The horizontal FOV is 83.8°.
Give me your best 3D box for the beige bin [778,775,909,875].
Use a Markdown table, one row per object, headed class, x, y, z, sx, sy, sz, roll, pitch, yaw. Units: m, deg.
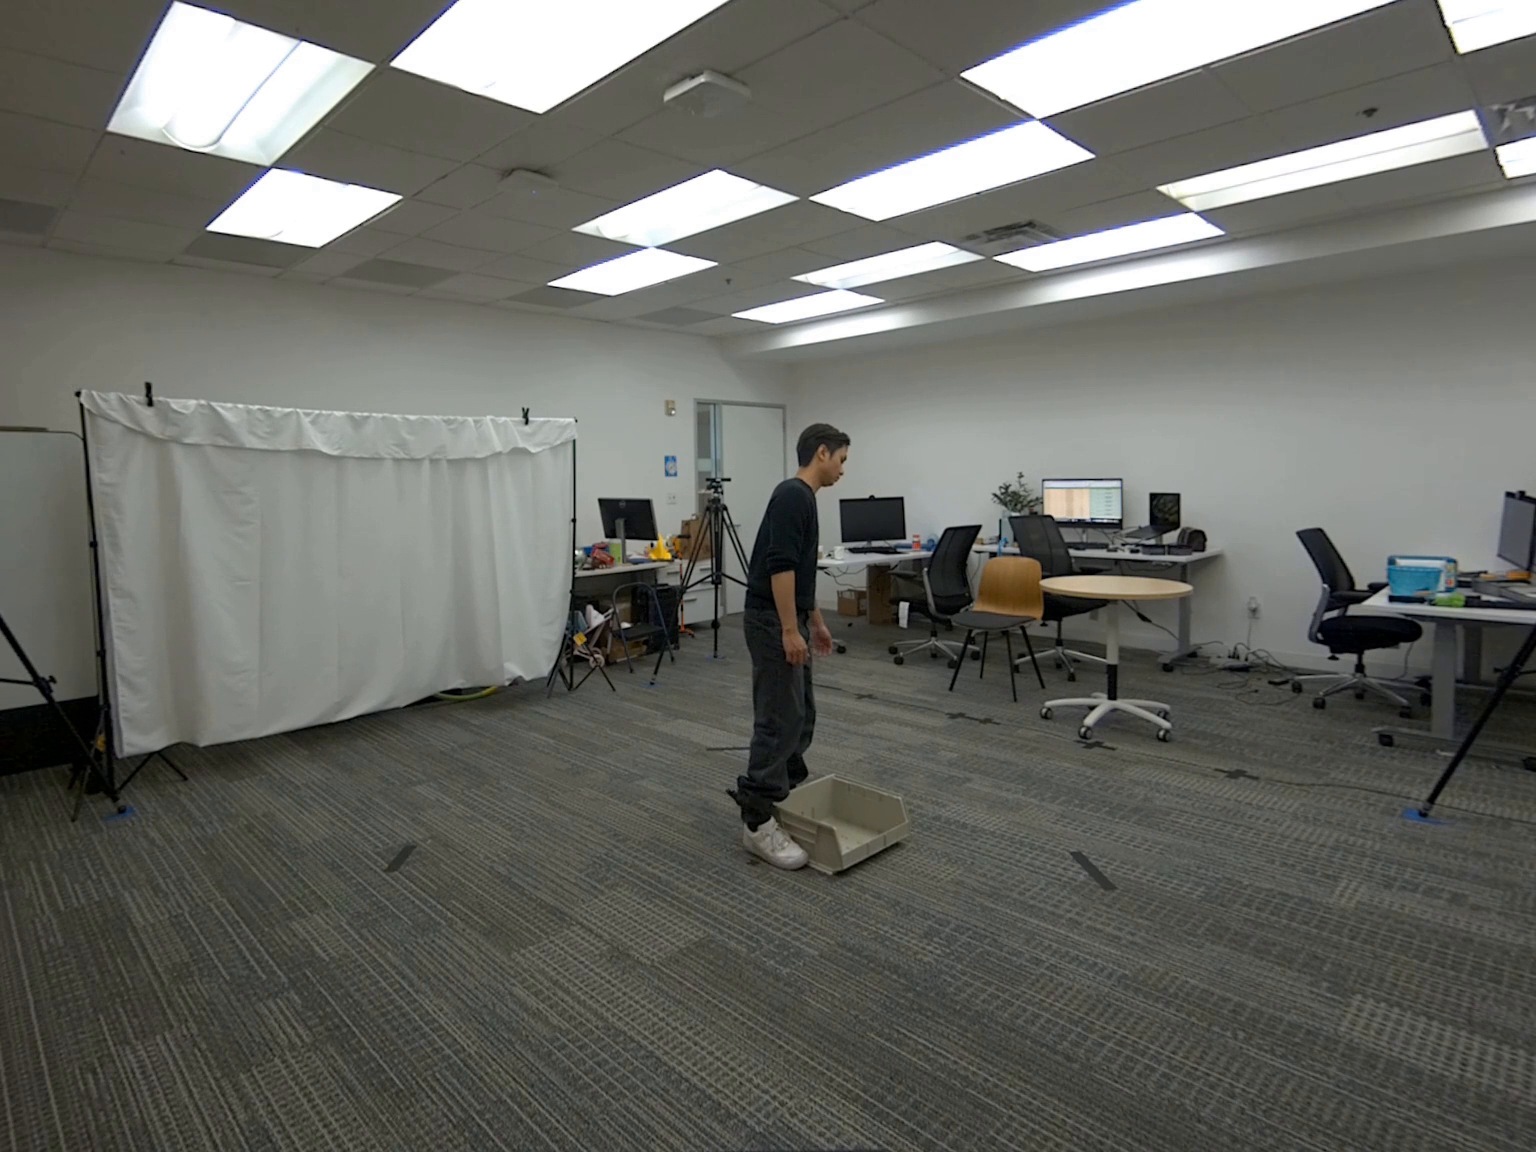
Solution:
| class | x | y | z | sx | sy | sz | roll | pitch | yaw |
| --- | --- | --- | --- | --- | --- | --- | --- | --- | --- |
| beige bin | 0.269 | 0.934 | 3.232 | 0.389 | 0.188 | 0.411 | 4 | 8 | 45 |
